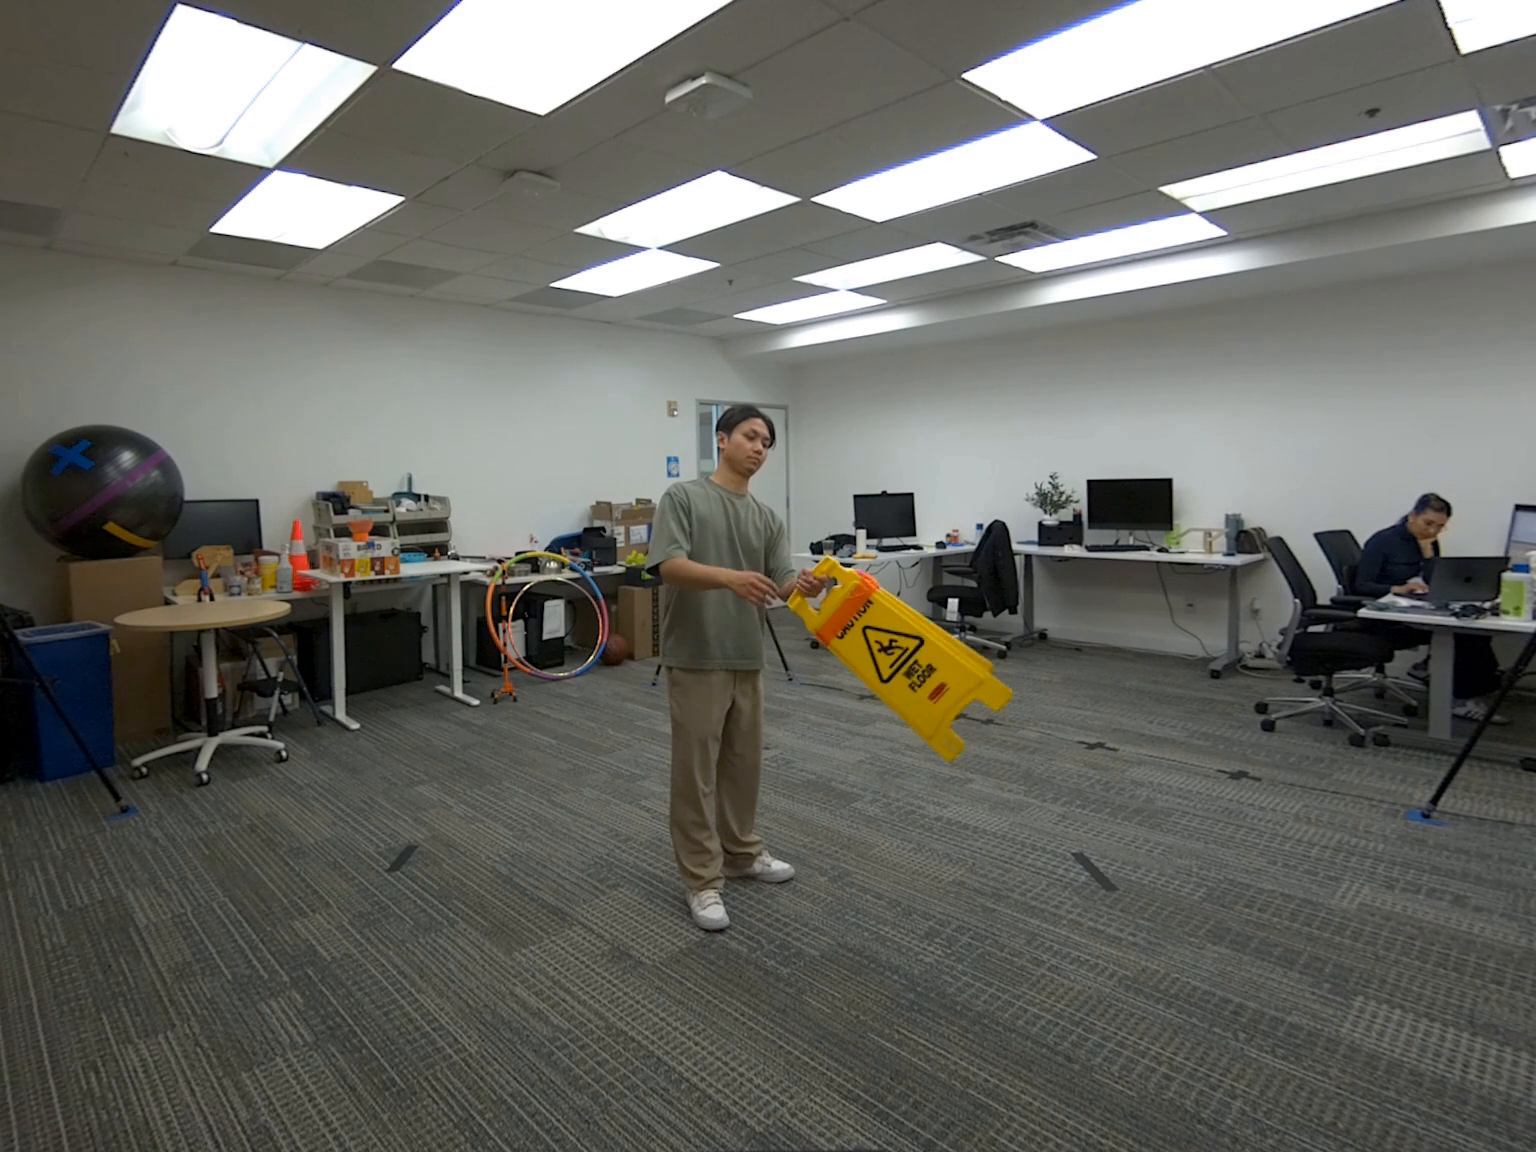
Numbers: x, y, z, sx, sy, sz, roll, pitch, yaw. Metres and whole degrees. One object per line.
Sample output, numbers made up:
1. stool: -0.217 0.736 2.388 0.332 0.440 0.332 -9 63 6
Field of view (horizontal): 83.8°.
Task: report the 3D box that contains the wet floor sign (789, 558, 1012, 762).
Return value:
1. wet floor sign: 0.362 0.206 2.556 0.643 0.282 0.291 39 10 -3
